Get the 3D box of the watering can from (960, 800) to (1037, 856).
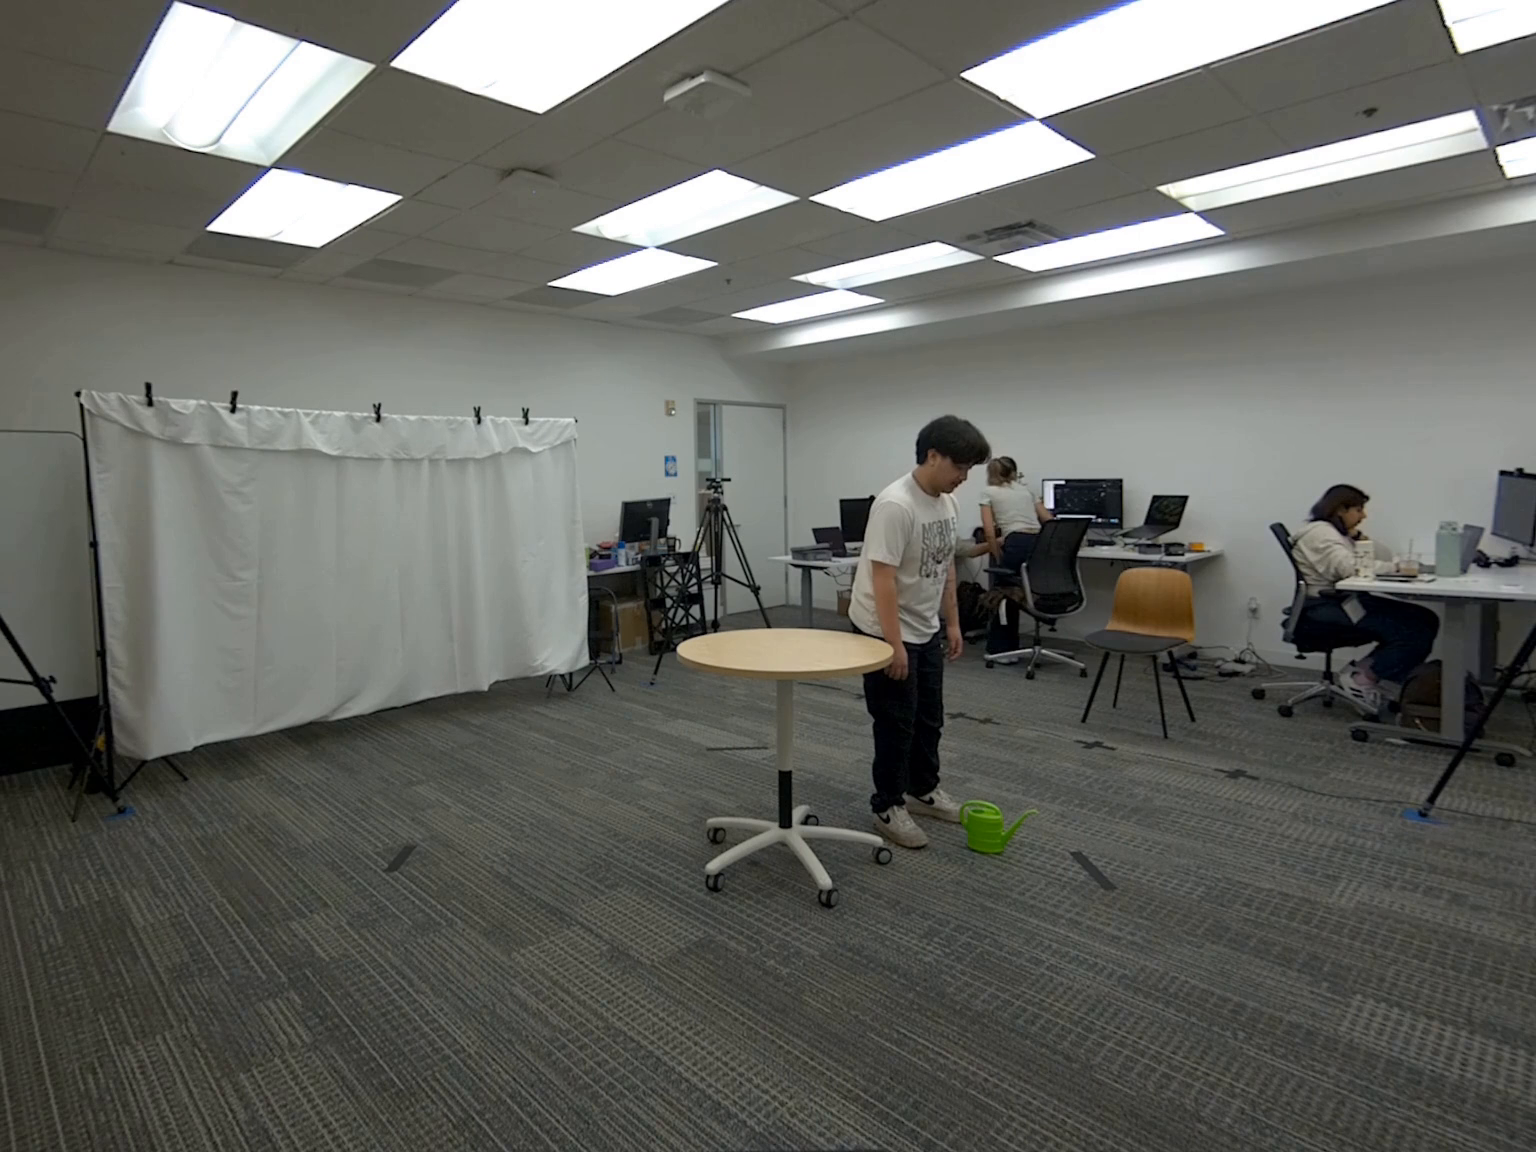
[{"bbox_3d":[0.857,0.938,3.157,0.286,0.176,0.095,2,6,39],"label":"watering can"}]
